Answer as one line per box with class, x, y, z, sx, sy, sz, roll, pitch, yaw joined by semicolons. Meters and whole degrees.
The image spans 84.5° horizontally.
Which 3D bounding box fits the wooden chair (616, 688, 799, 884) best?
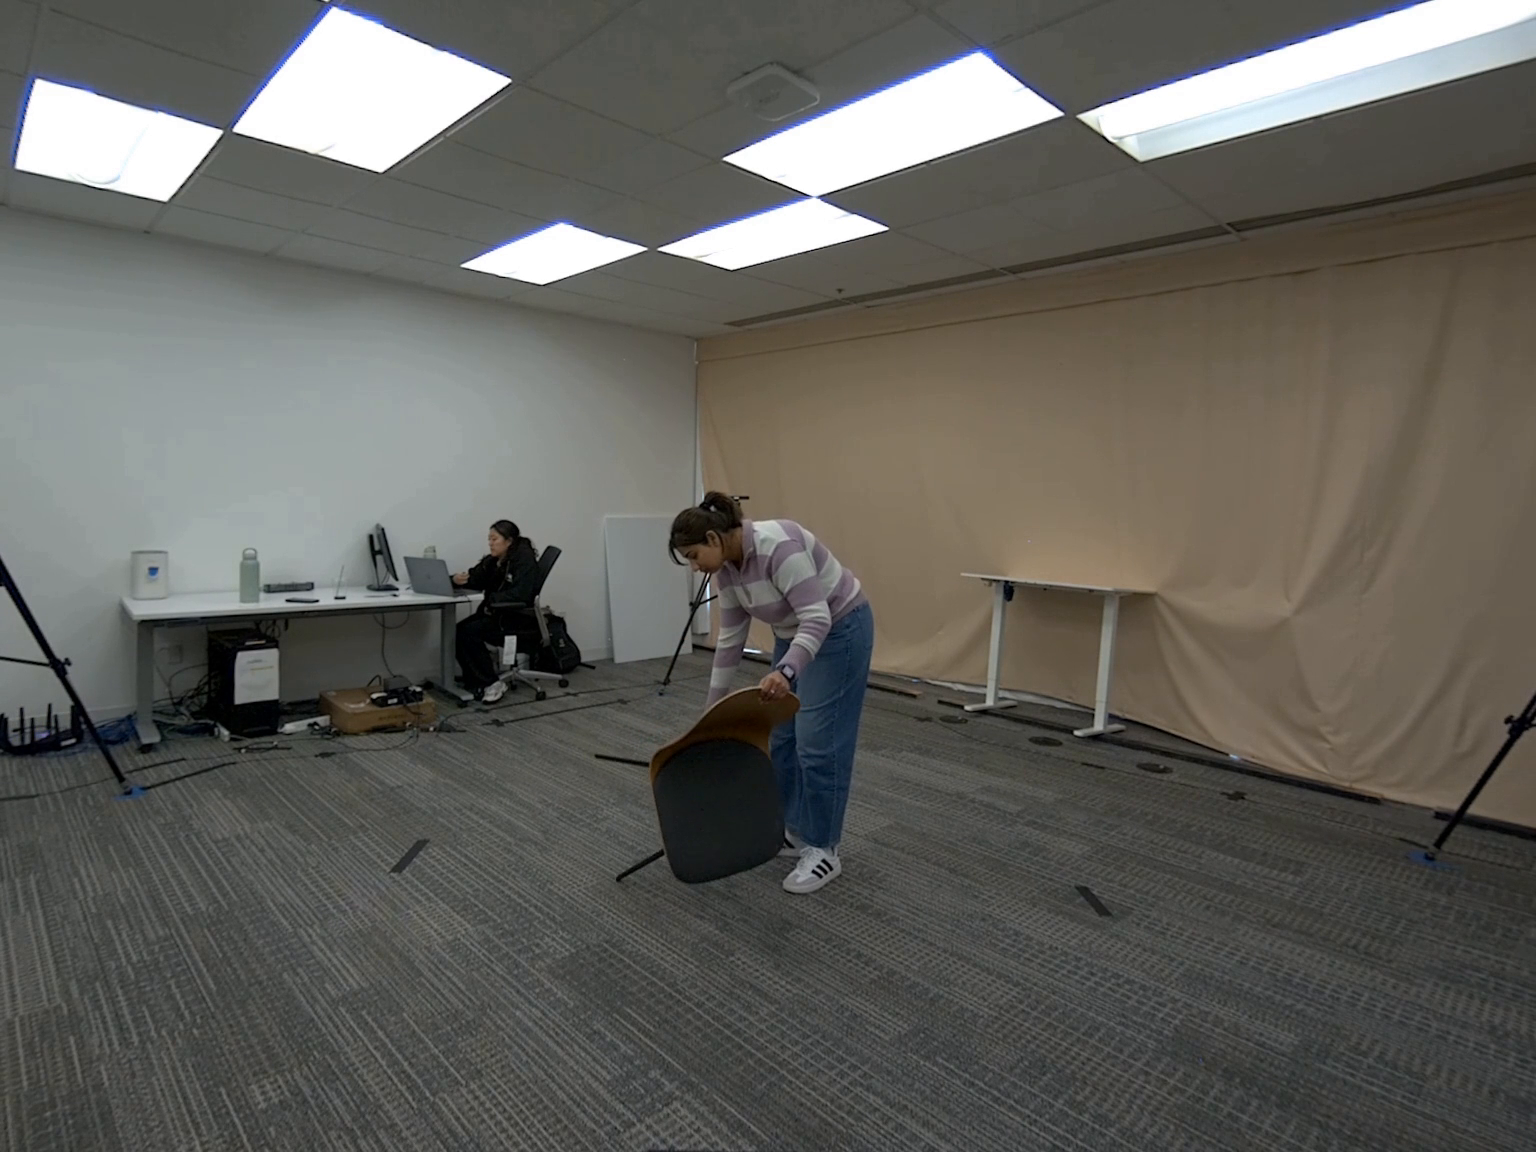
wooden chair;-0.195;0.750;2.853;0.468;0.531;0.882;-4;-19;-35
